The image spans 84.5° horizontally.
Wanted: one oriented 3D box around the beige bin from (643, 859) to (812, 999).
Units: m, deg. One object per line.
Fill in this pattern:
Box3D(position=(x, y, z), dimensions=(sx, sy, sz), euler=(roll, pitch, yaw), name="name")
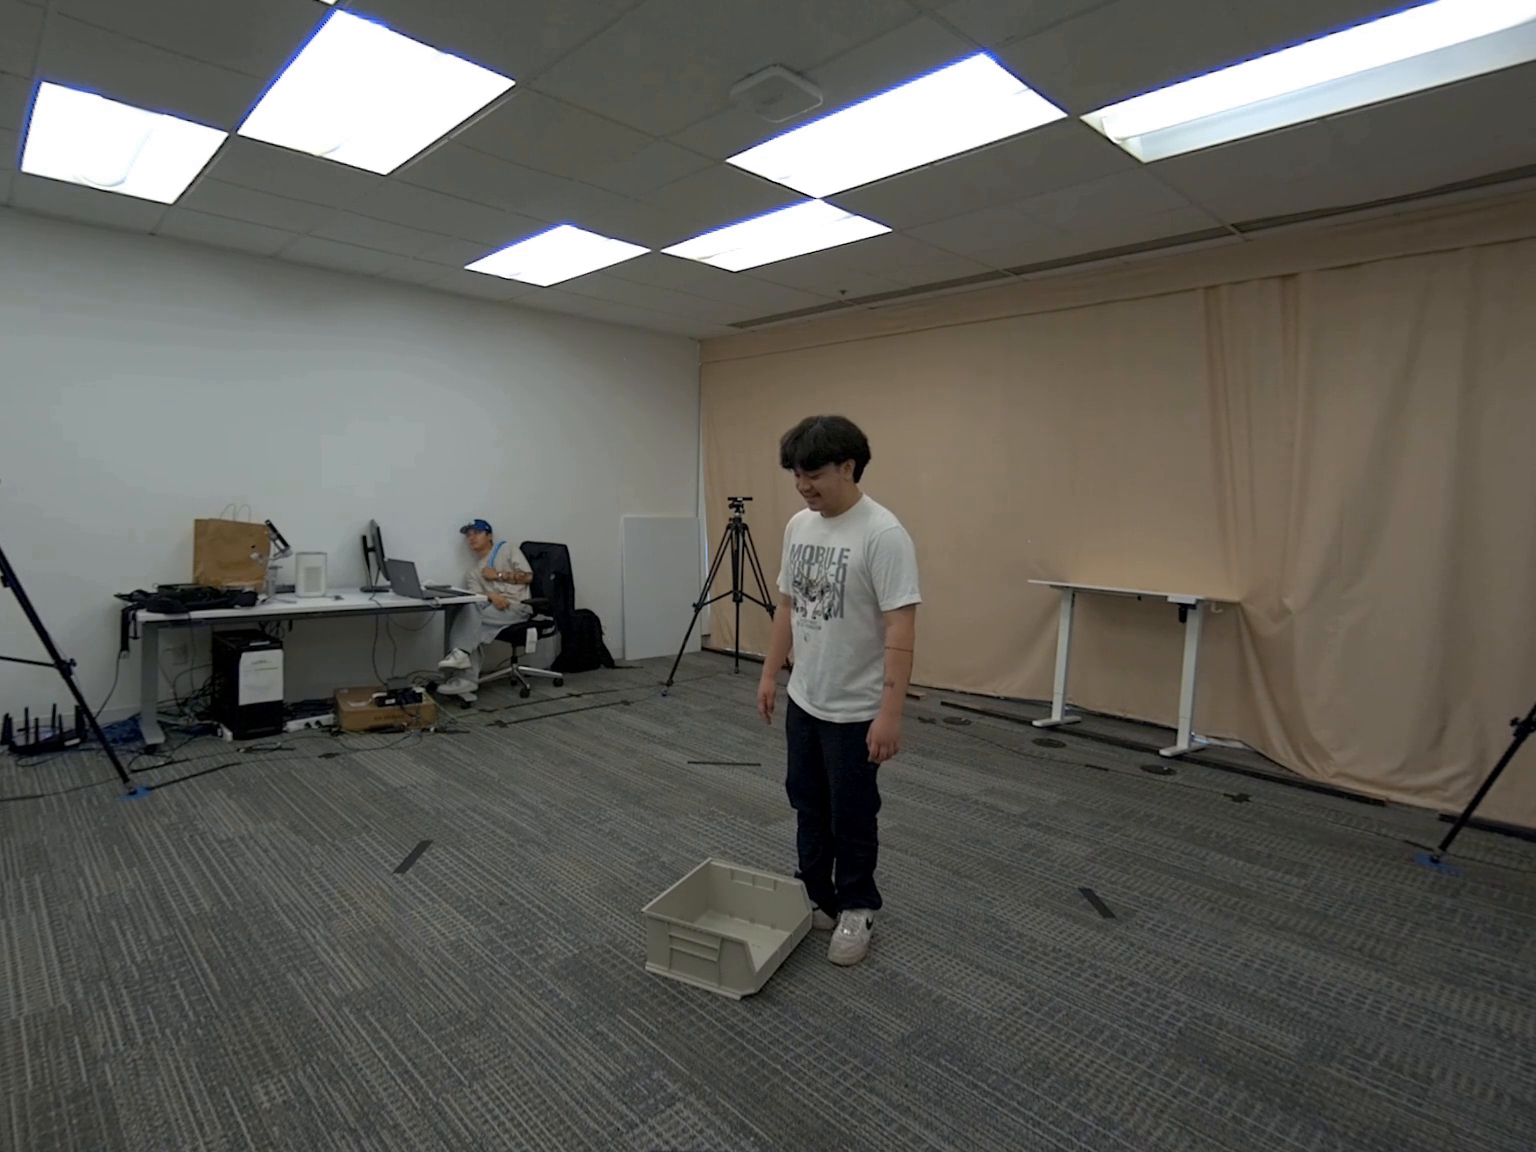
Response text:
Box3D(position=(-0.119, 1.066, 2.569), dimensions=(0.385, 0.188, 0.415), euler=(2, 5, 26), name="beige bin")
